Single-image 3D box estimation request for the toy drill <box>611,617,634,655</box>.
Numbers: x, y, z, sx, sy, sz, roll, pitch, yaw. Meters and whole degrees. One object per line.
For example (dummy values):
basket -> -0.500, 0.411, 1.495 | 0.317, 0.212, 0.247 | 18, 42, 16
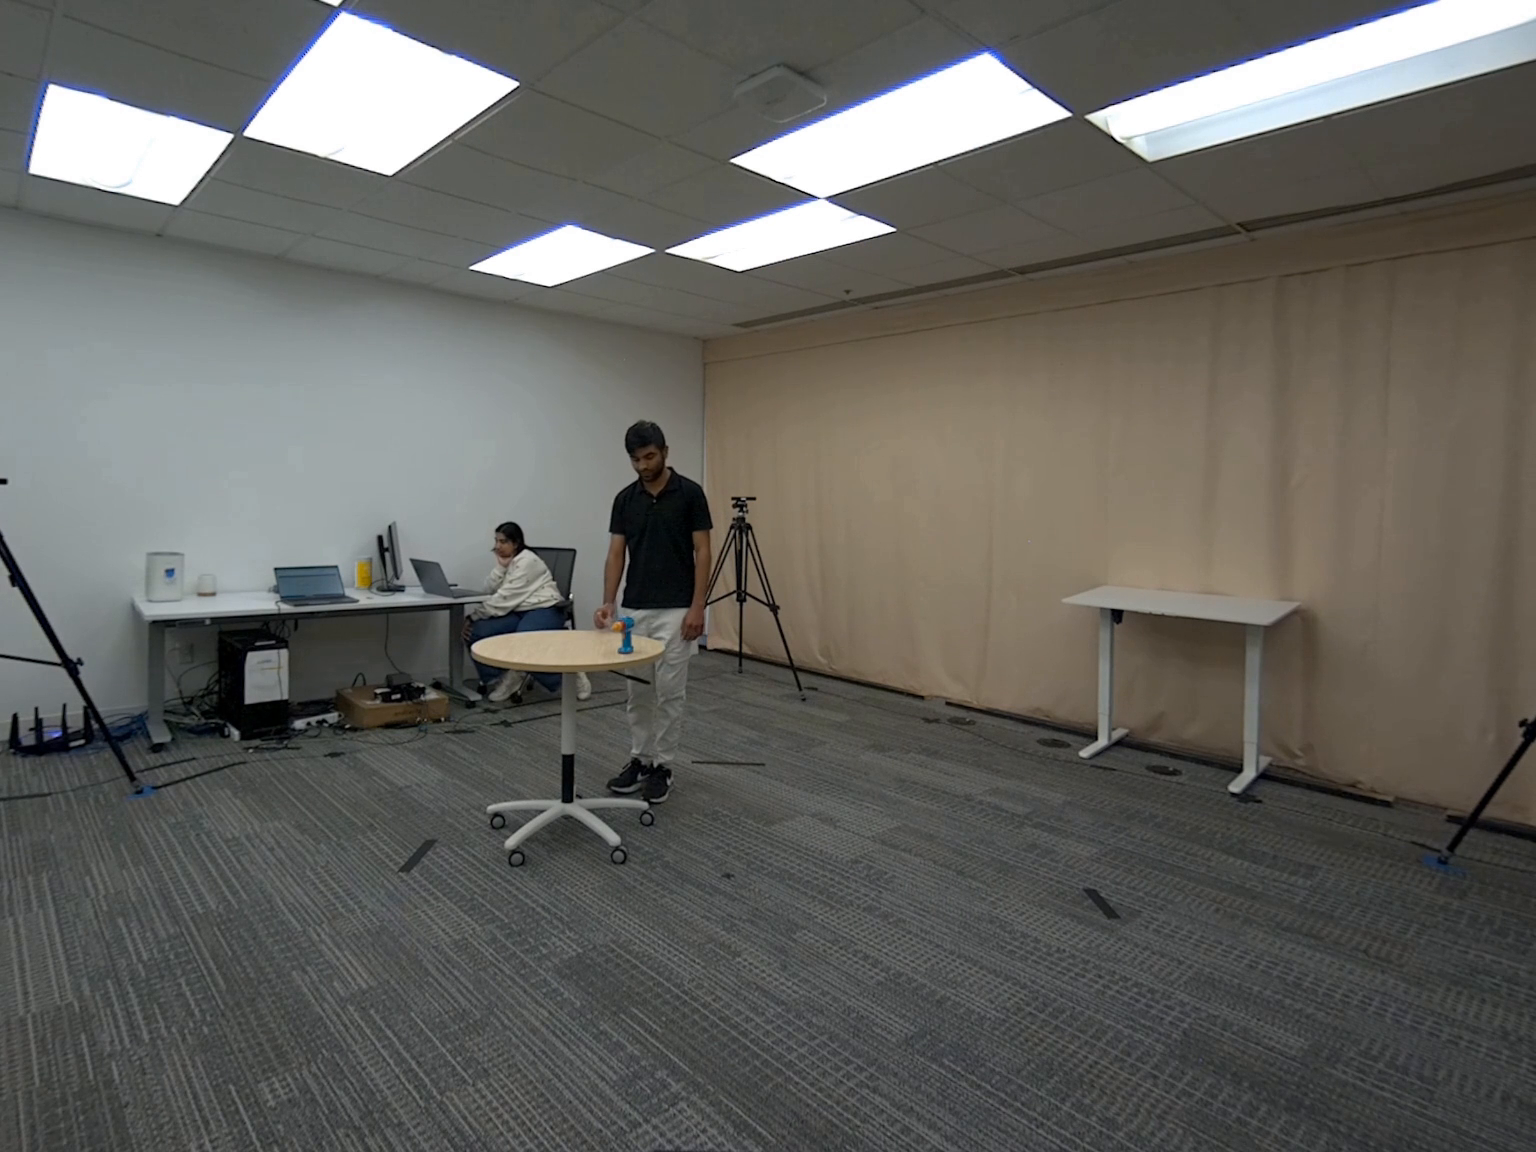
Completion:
toy drill -> -0.570, 0.233, 3.251 | 0.062, 0.146, 0.168 | 1, 4, 13
